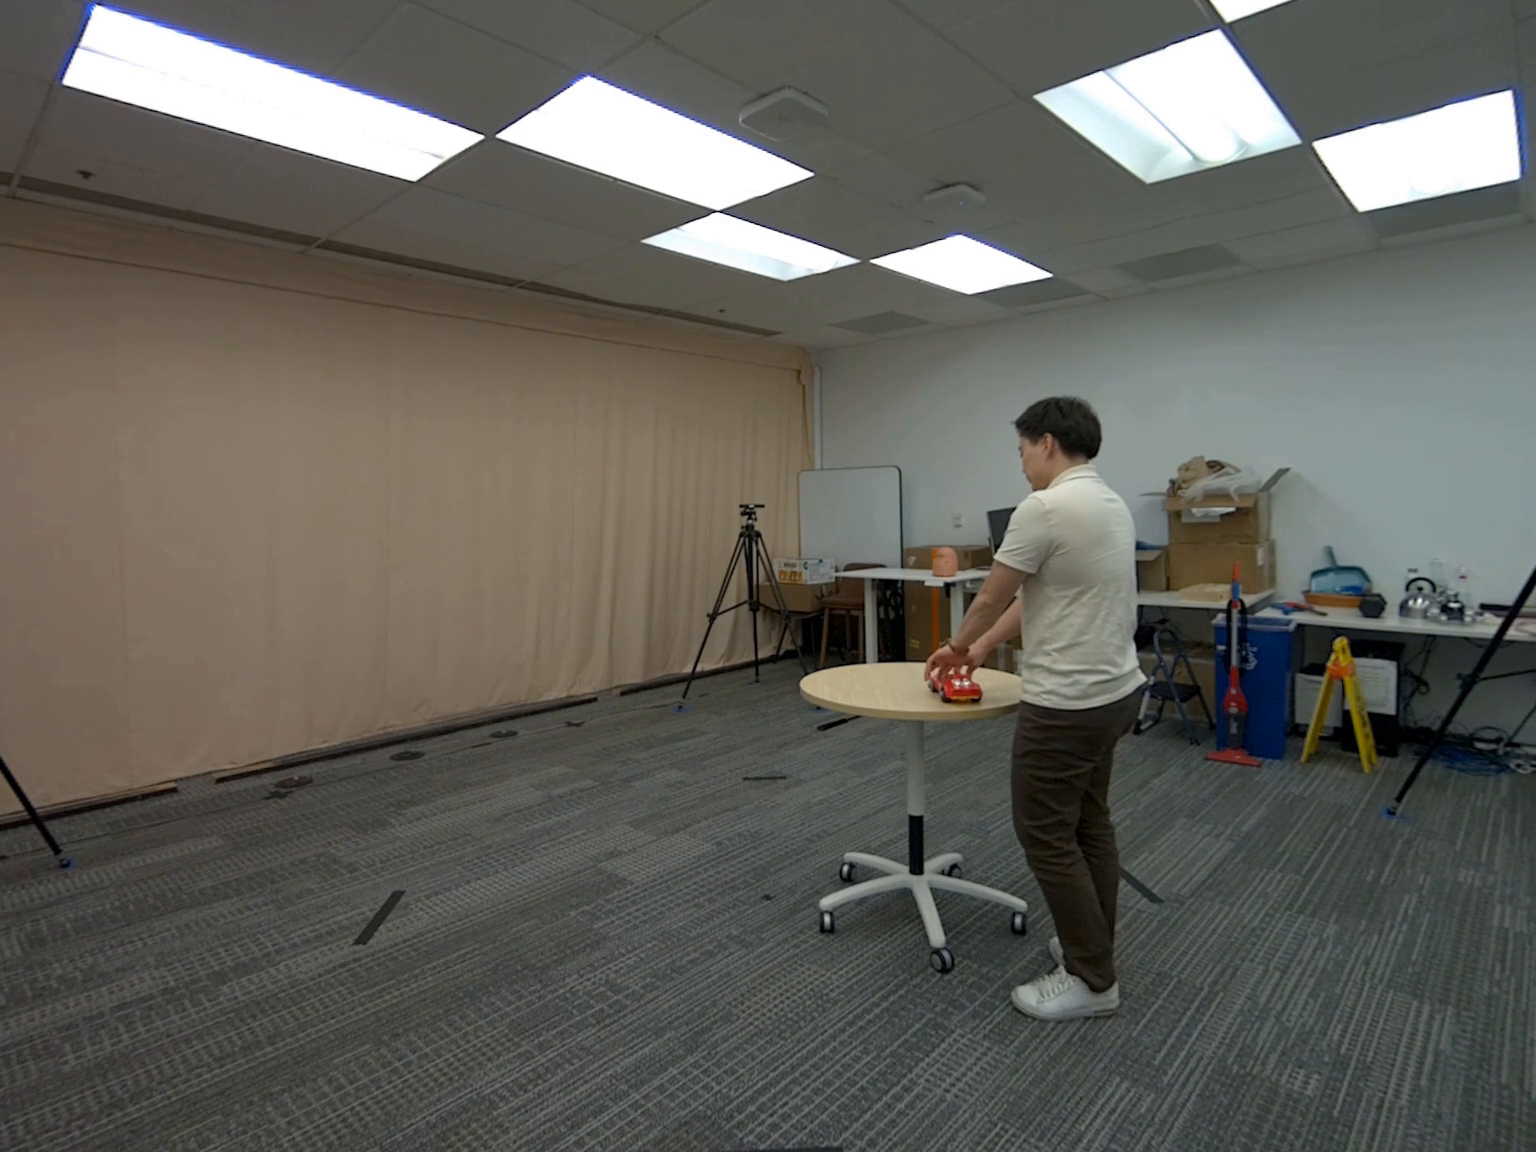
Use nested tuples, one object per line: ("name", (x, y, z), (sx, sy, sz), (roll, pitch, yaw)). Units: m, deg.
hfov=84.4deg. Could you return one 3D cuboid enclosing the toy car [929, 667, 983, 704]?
("toy car", (0.590, 0.348, 2.586), (0.130, 0.083, 0.253), (-1, -6, -1))
